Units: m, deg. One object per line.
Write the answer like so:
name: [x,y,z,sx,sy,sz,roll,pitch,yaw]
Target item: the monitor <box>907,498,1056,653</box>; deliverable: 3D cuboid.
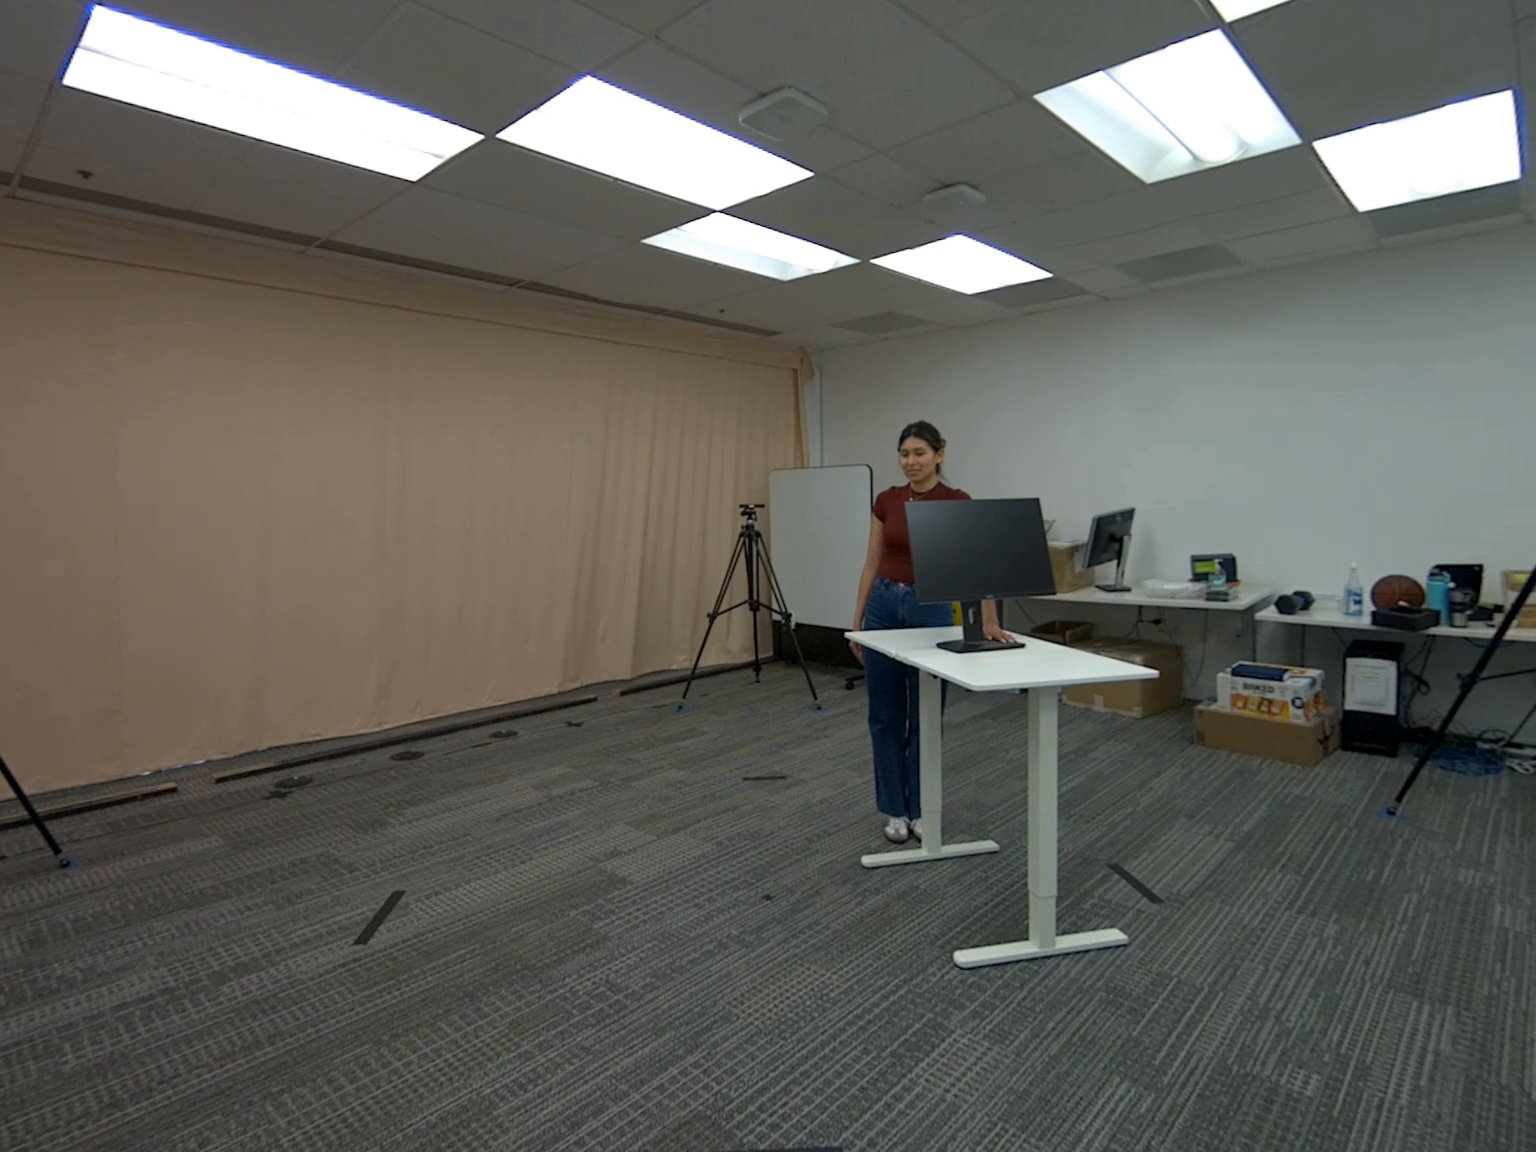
monitor: [0.734,-0.008,2.939,0.529,0.522,0.191,-3,1,-19]
